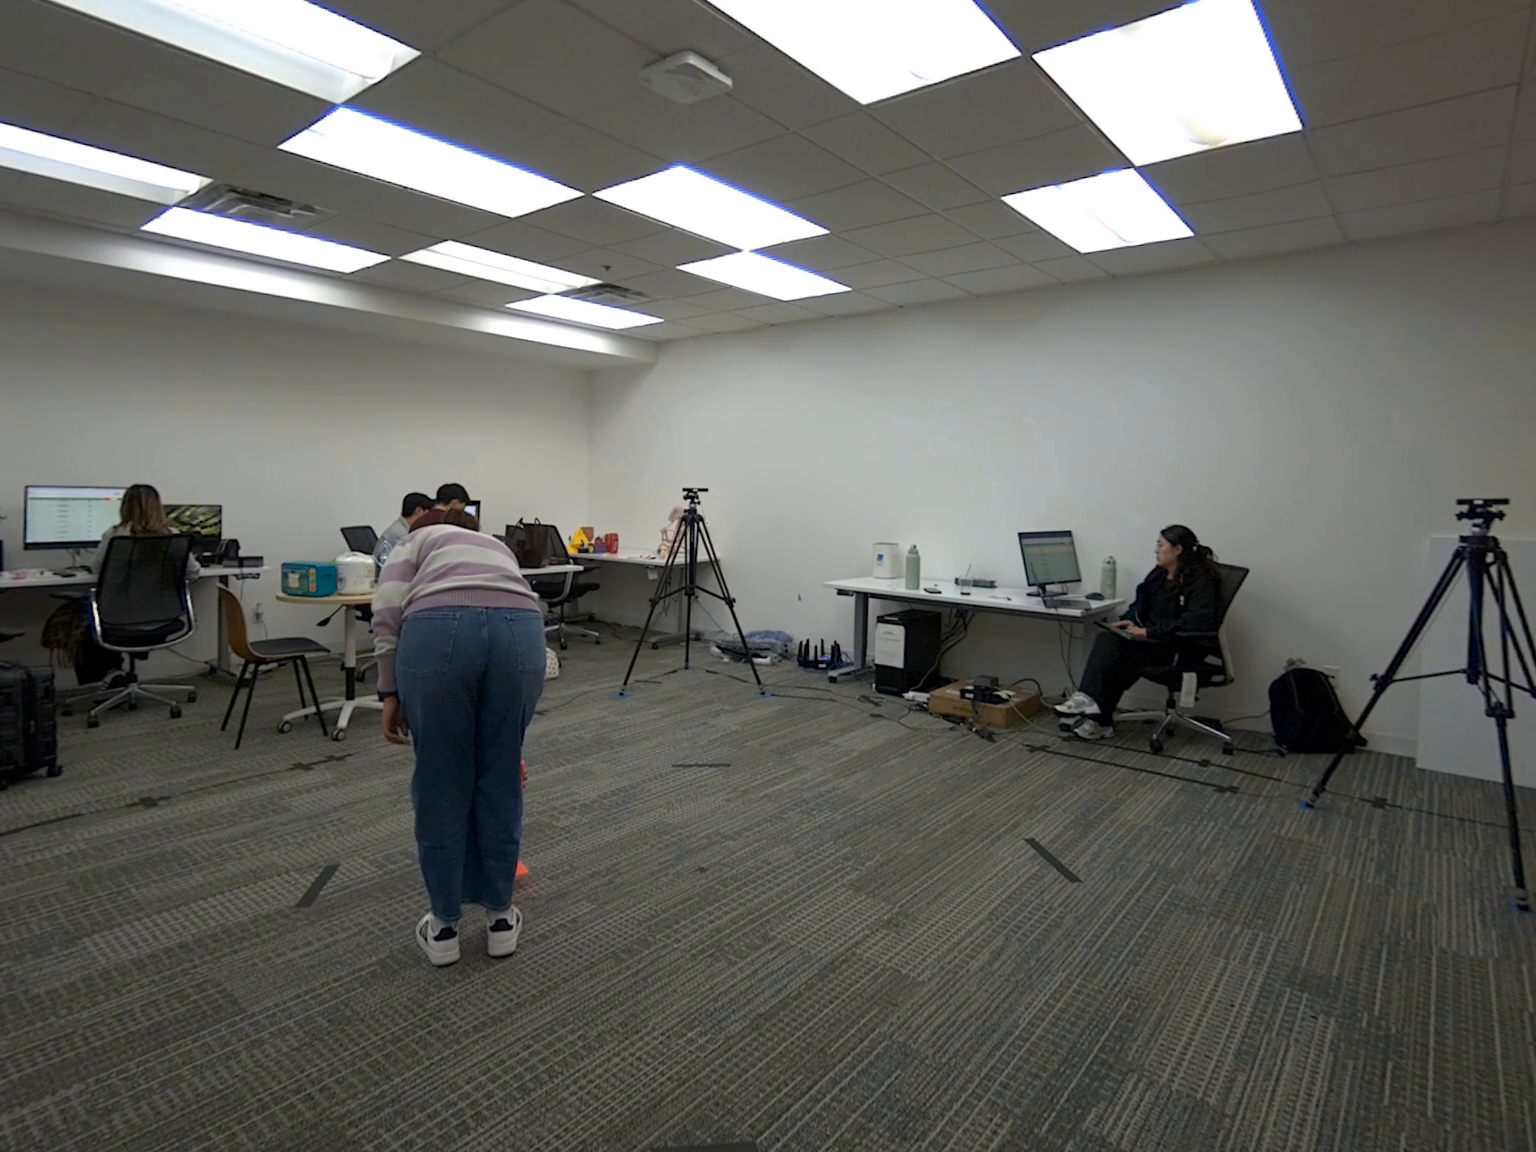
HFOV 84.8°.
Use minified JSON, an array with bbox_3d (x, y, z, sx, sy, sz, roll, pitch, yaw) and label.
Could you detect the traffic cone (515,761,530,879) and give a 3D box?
[{"bbox_3d":[-0.912,0.814,2.920,0.212,0.381,0.197,22,10,29],"label":"traffic cone"}]
